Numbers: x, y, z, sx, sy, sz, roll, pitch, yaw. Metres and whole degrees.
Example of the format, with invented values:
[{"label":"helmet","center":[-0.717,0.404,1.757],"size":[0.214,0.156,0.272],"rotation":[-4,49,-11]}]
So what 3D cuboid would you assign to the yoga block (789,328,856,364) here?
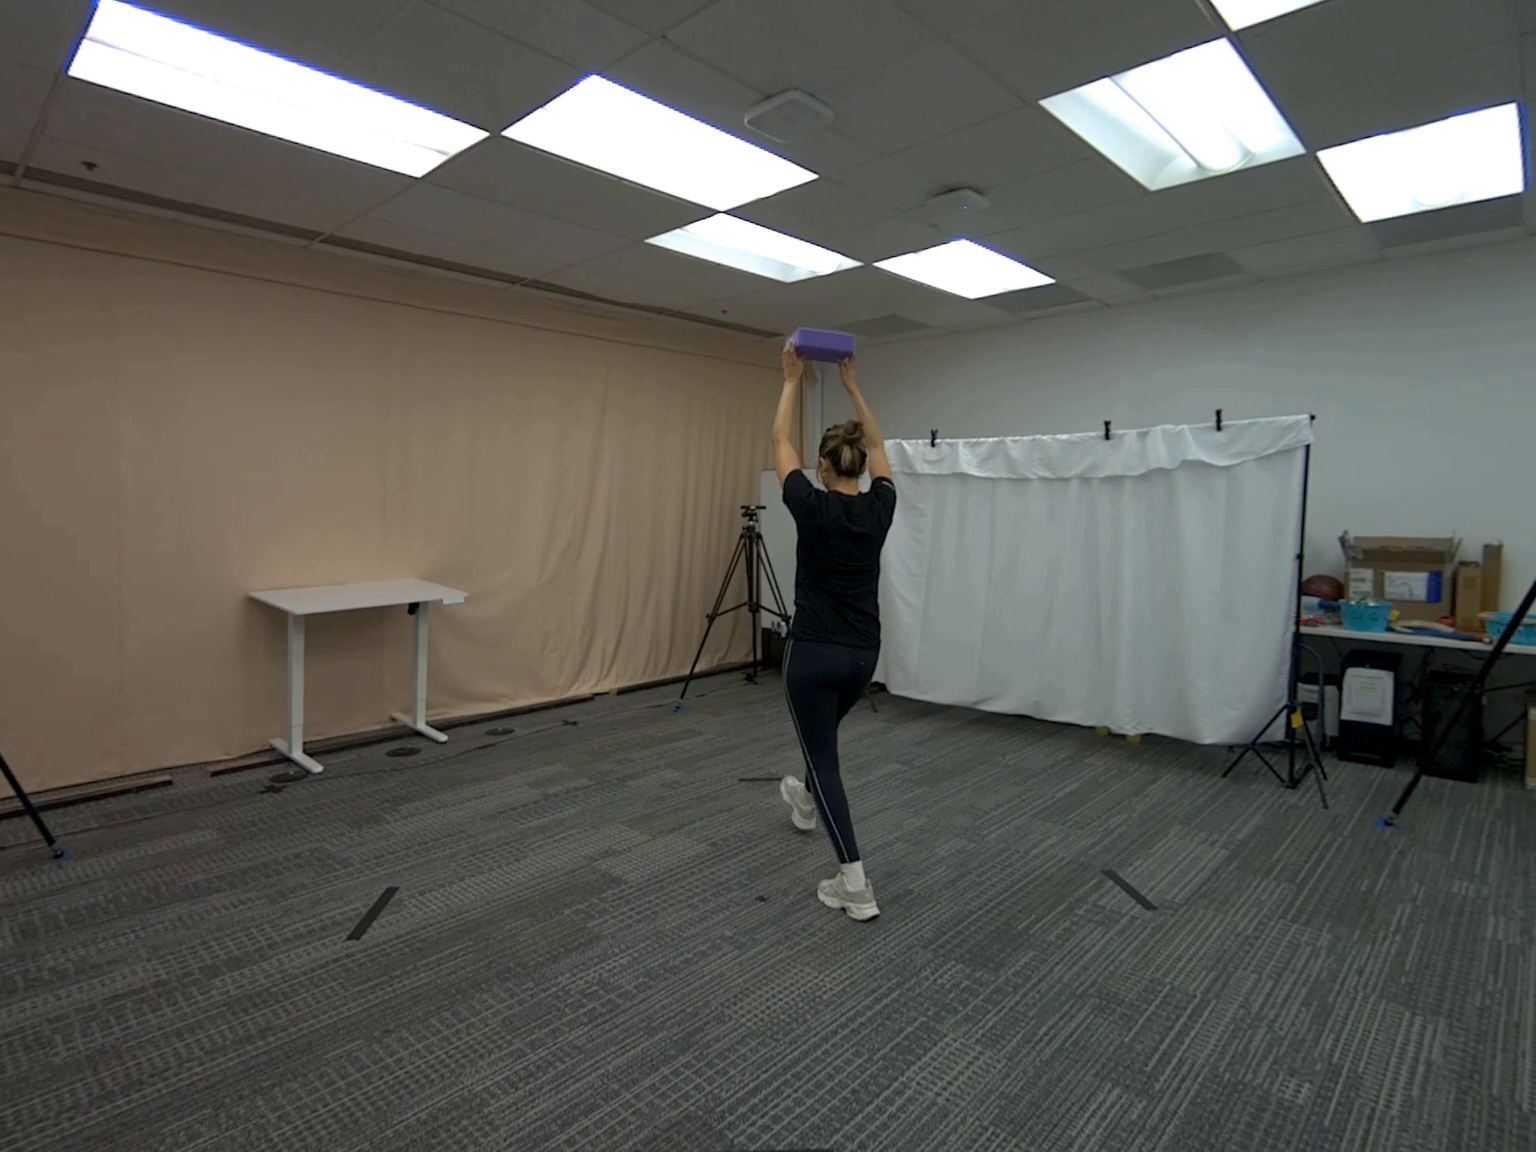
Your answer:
[{"label":"yoga block","center":[0.206,-0.883,3.223],"size":[0.227,0.076,0.150],"rotation":[1,-4,-11]}]
